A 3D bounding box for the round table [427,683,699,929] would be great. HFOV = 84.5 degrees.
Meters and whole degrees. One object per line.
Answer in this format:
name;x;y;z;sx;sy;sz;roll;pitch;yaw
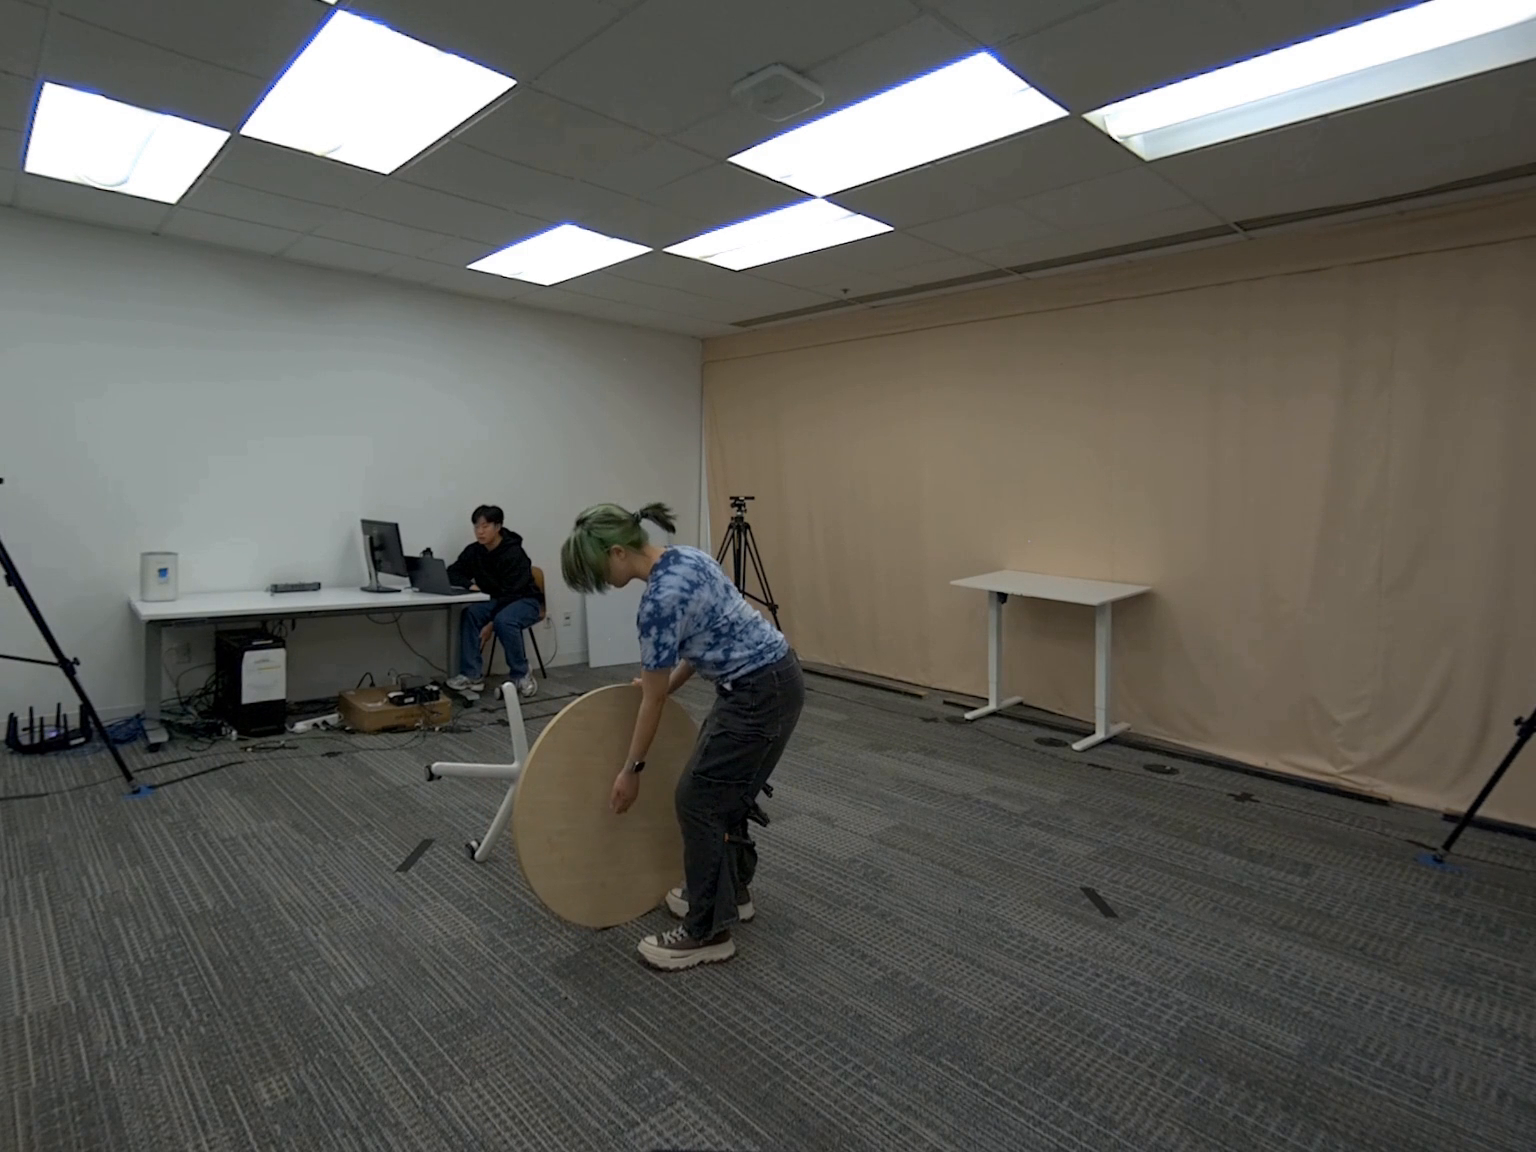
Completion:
round table;-0.756;0.757;3.057;0.746;0.765;0.811;-3;-1;-43
